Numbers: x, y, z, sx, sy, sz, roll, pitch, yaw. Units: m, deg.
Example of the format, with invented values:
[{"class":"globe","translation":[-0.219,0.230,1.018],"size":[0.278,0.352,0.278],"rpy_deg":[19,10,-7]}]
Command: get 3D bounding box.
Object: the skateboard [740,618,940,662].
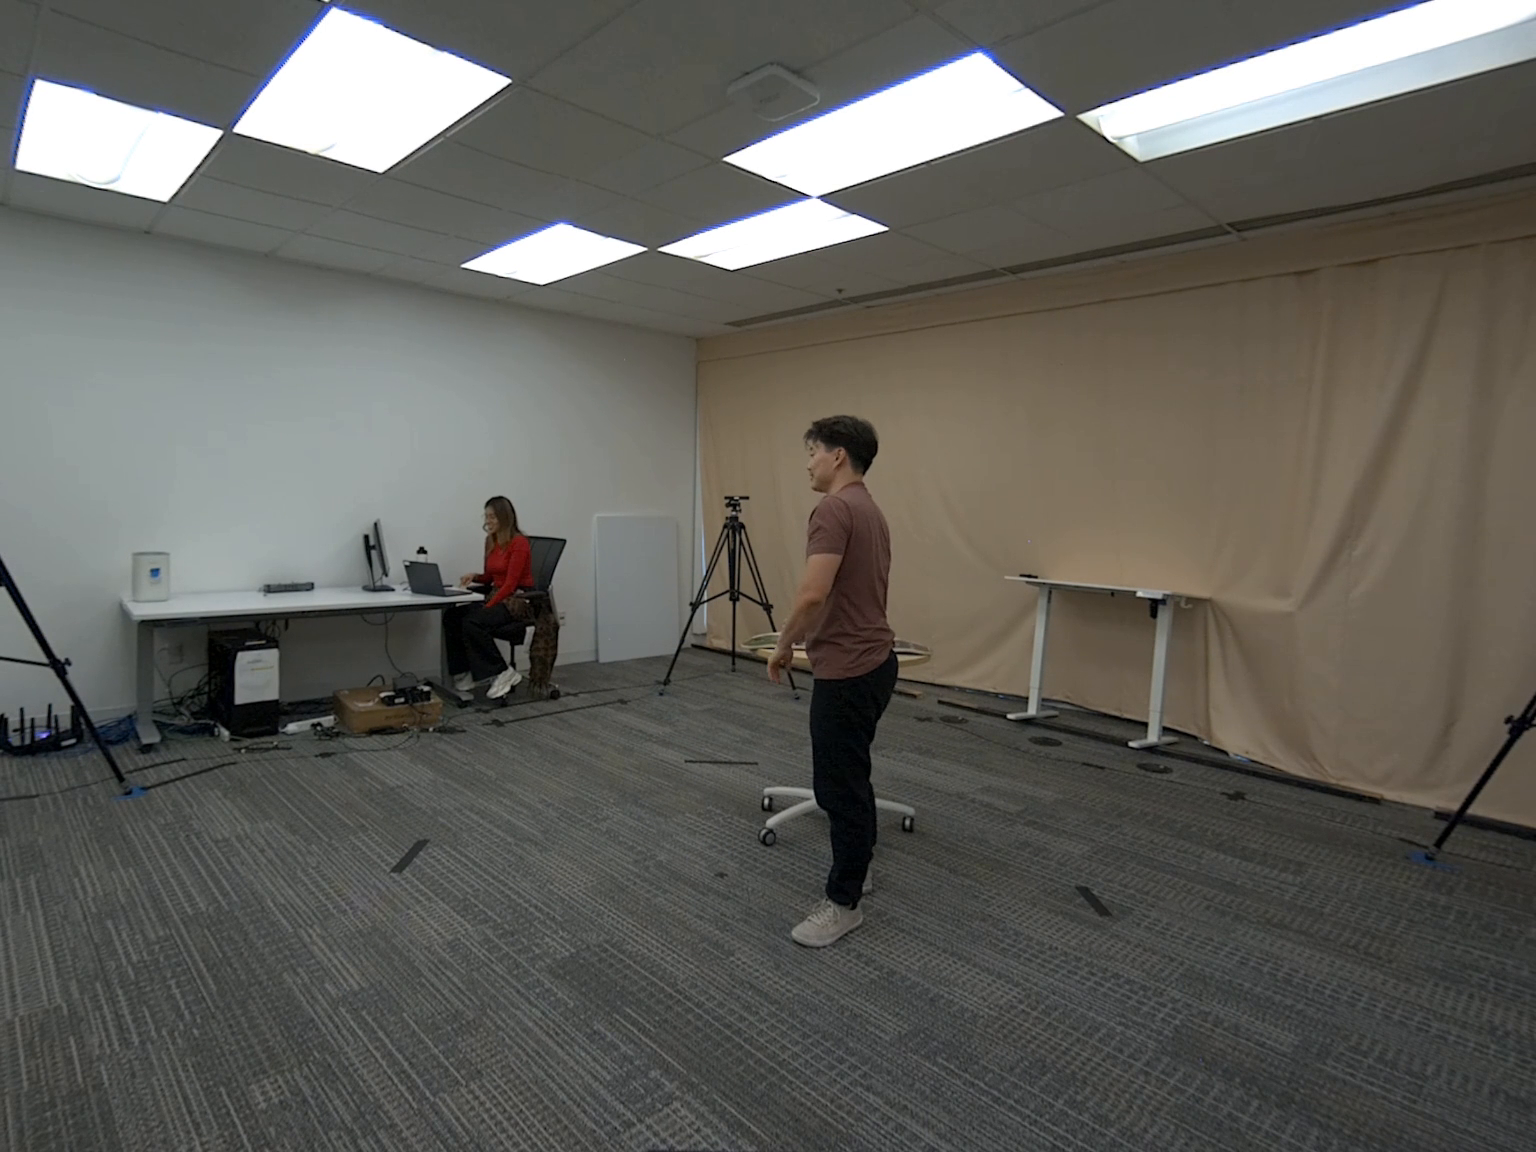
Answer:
[{"class":"skateboard","translation":[0.281,0.256,3.463],"size":[0.787,0.110,0.194],"rpy_deg":[2,5,3]}]
